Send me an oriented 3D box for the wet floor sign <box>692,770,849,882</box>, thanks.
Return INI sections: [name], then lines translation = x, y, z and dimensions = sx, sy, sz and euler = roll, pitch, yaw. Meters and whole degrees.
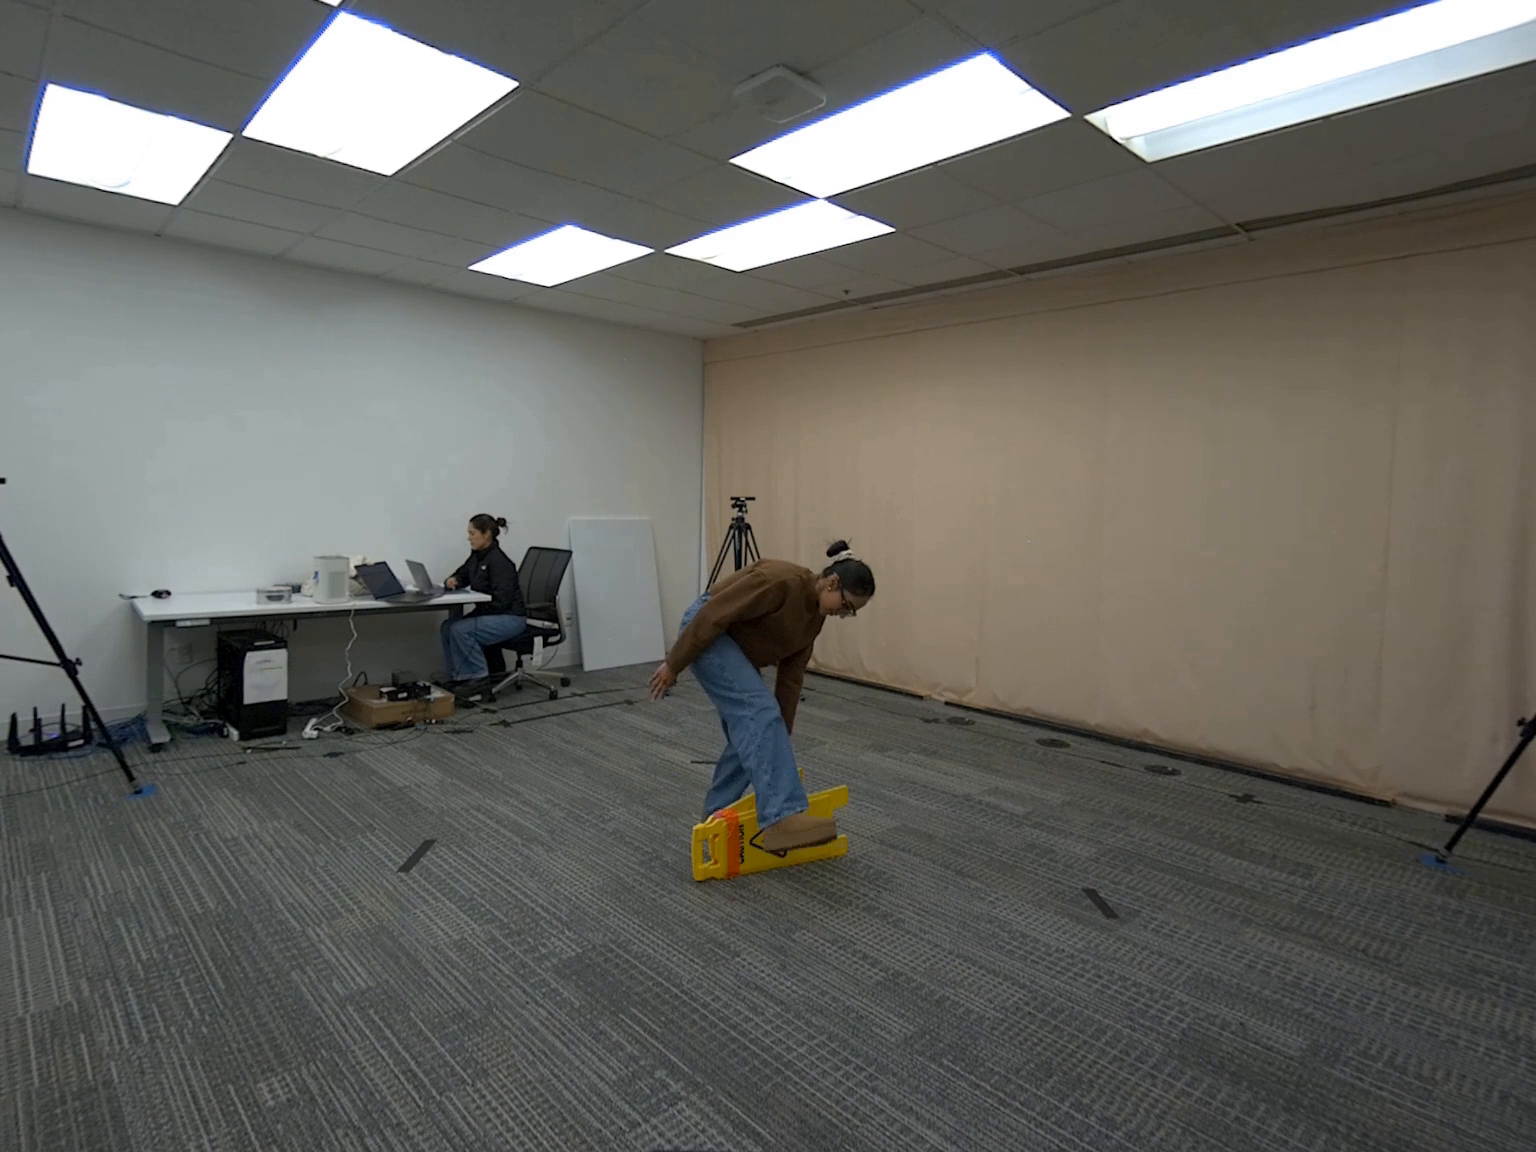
[wet floor sign]
translation = -0.021, 0.974, 3.219
dimensions = 0.632, 0.281, 0.297
euler = -6, 7, -38
